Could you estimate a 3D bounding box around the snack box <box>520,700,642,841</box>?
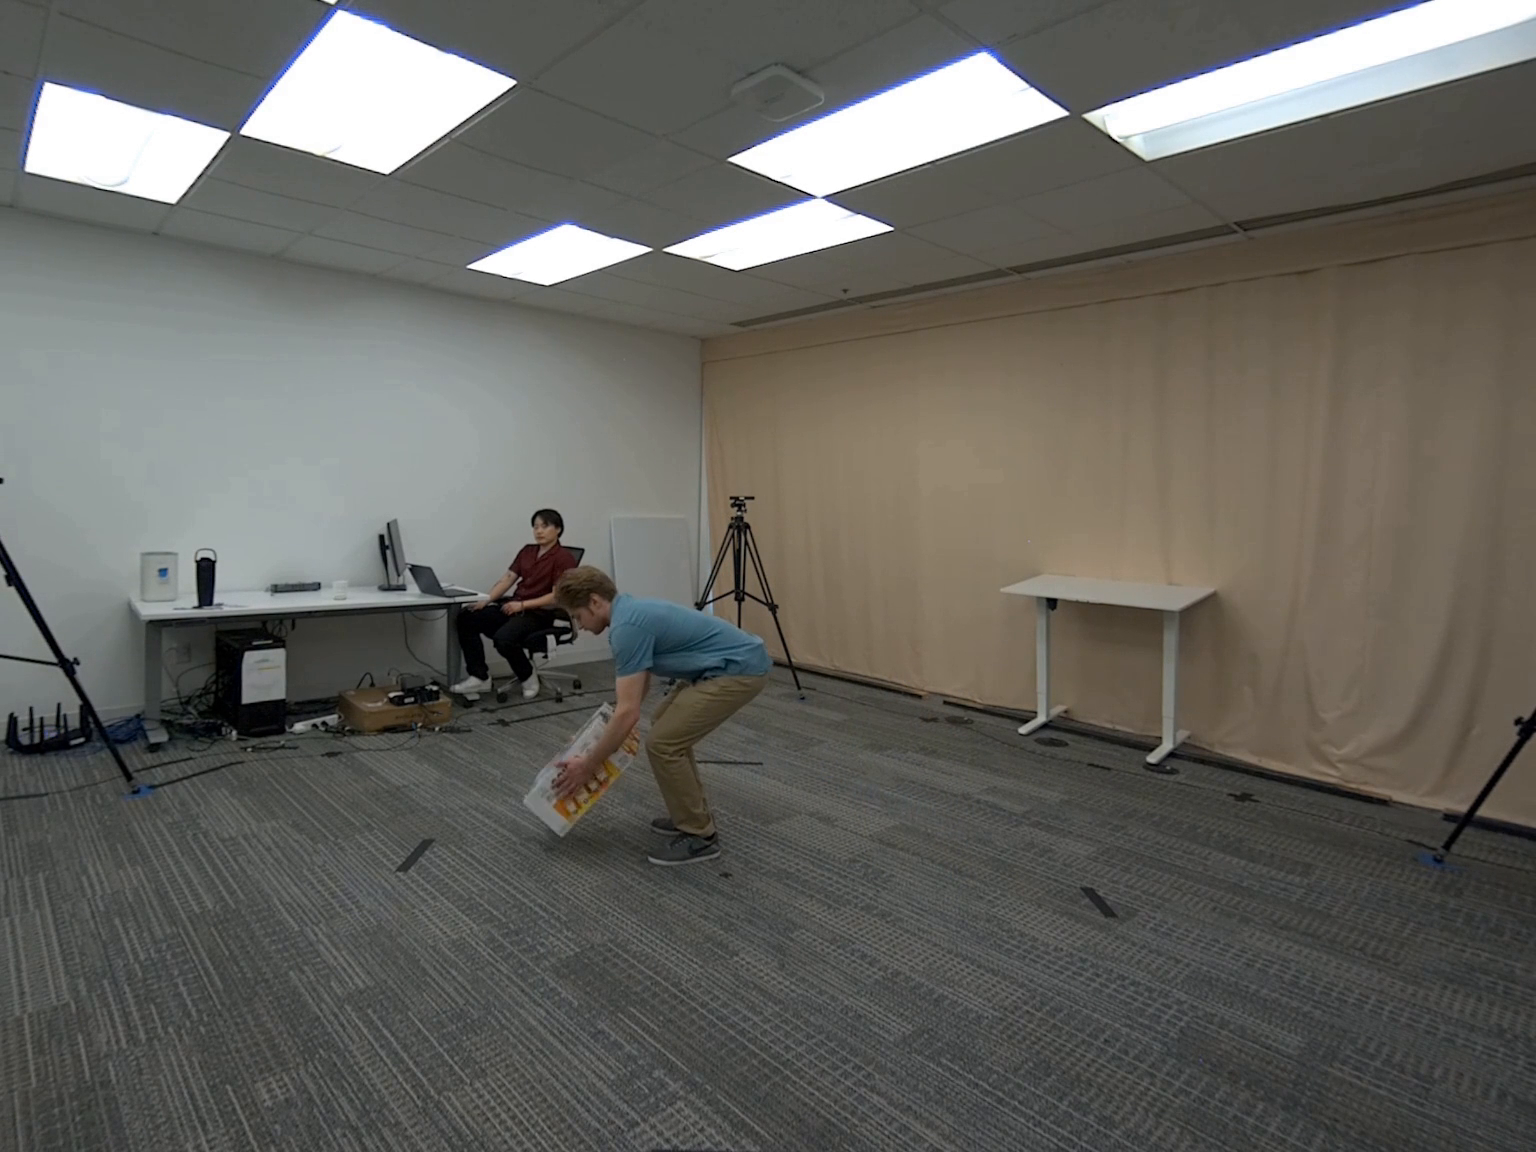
[{"bbox_3d":[-0.725,0.752,3.329,0.204,0.405,0.342,42,4,-7],"label":"snack box"}]
